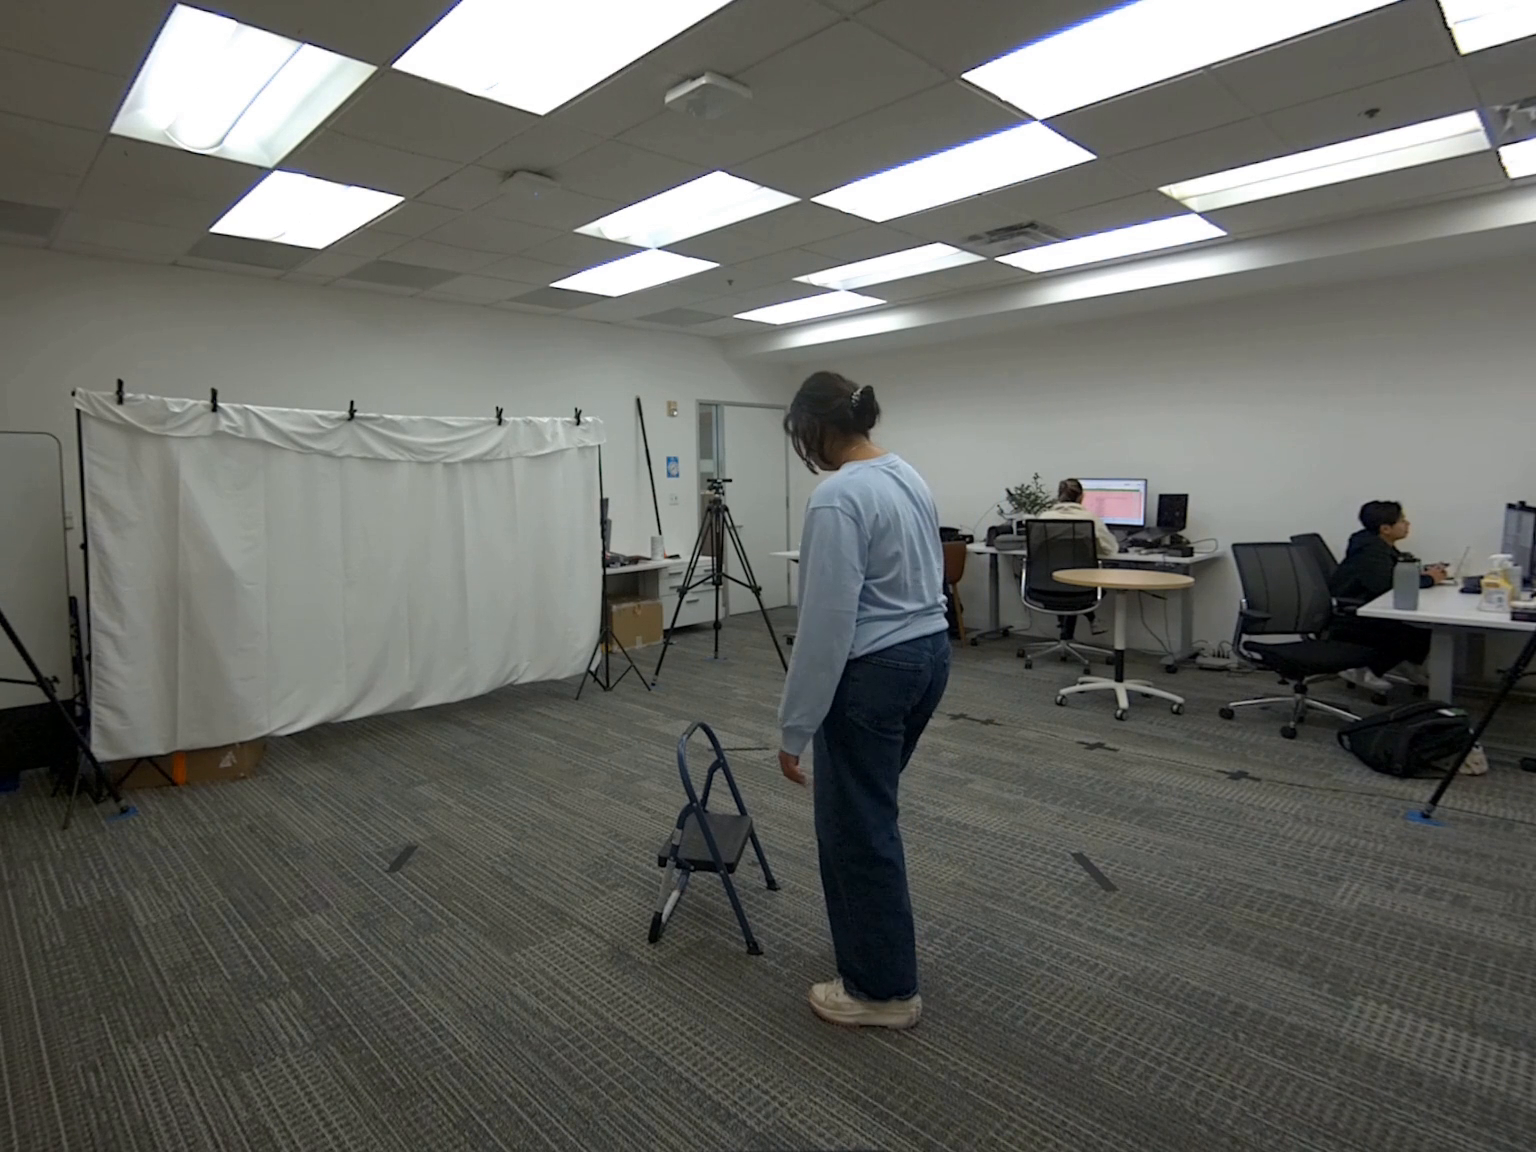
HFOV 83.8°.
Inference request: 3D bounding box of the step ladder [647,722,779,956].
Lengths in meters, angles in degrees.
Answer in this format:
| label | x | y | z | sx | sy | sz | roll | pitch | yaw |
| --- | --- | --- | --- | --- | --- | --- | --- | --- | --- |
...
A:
| label | x | y | z | sx | sy | sz | roll | pitch | yaw |
| --- | --- | --- | --- | --- | --- | --- | --- | --- | --- |
| step ladder | -0.168 | 0.790 | 2.731 | 0.353 | 0.604 | 0.428 | 0 | 5 | 10 |
